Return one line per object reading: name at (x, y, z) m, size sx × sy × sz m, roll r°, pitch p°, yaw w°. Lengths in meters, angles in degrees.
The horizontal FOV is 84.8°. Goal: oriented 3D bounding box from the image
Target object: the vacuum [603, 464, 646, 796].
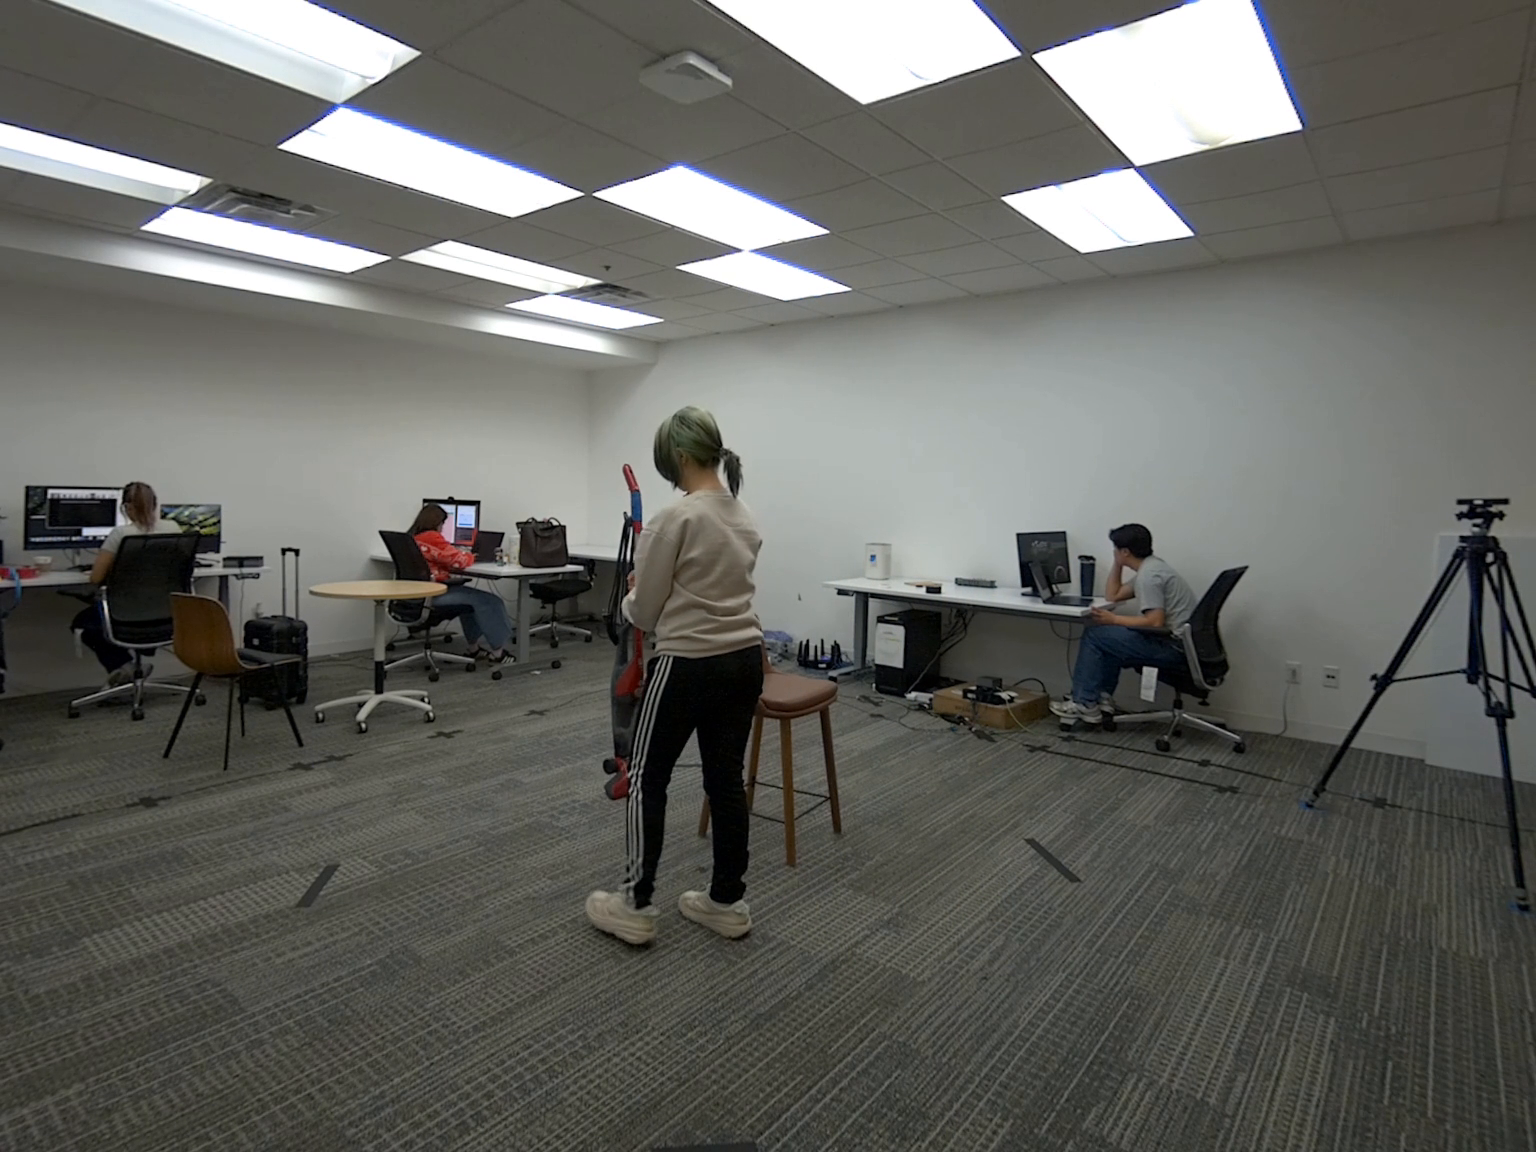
vacuum at (-0.494, 0.159, 2.899) m, size 0.148 × 1.052 × 0.245 m, roll -5°, pitch -3°, yaw 38°
